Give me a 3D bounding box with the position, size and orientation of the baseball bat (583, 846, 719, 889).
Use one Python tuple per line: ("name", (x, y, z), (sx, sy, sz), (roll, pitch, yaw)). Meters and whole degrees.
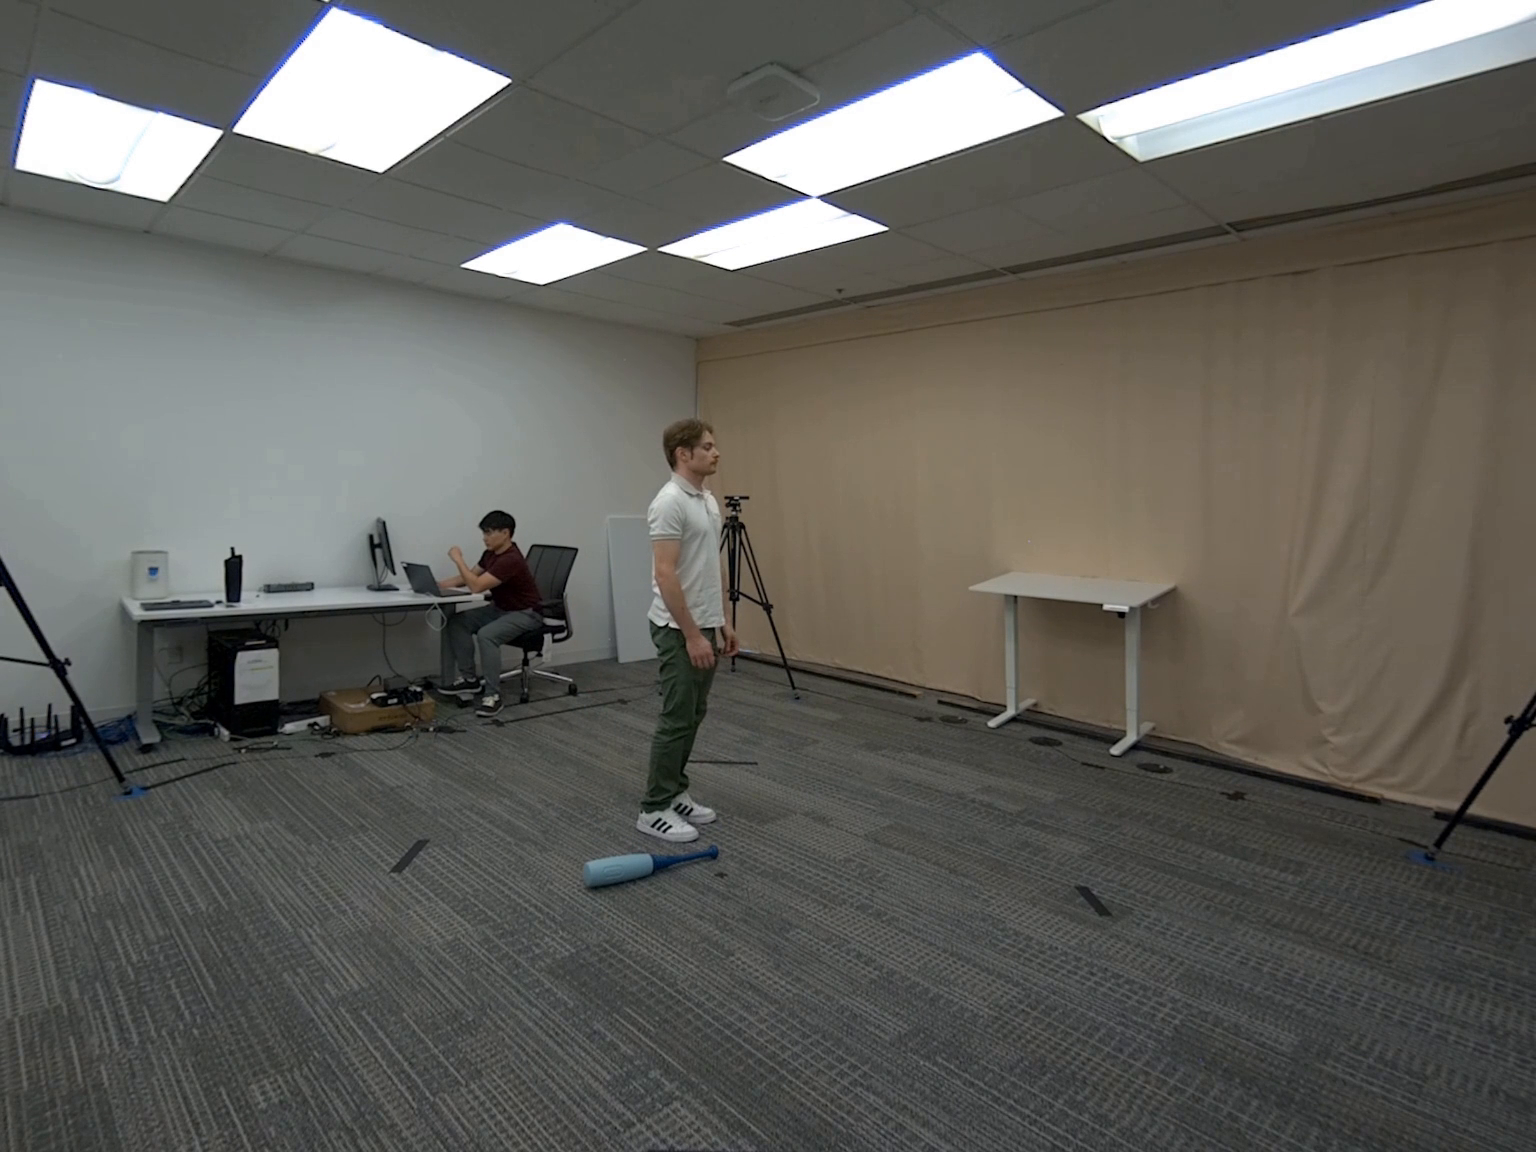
("baseball bat", (-0.429, 1.061, 3.111), (0.531, 0.089, 0.091), (2, 3, -34))
